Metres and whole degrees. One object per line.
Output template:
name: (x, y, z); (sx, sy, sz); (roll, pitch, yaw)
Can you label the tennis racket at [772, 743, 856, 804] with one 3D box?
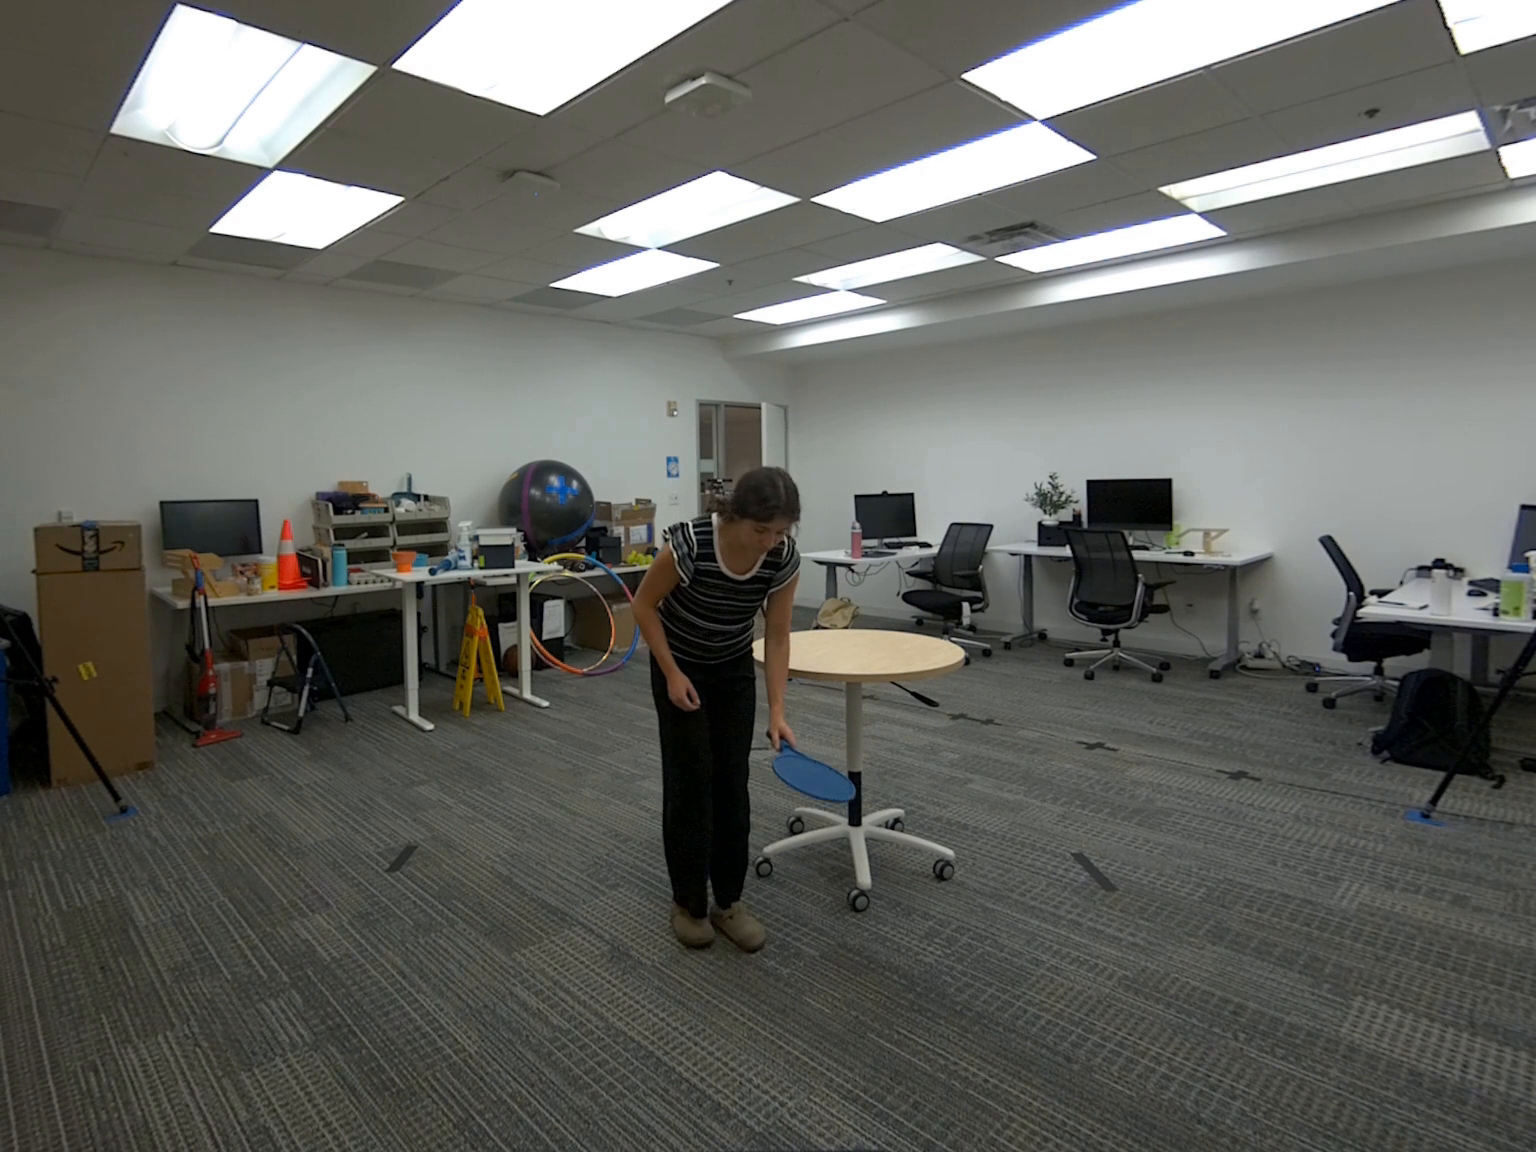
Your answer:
tennis racket: (0.082, 0.506, 2.328); (0.209, 0.031, 0.445); (12, 7, -23)
